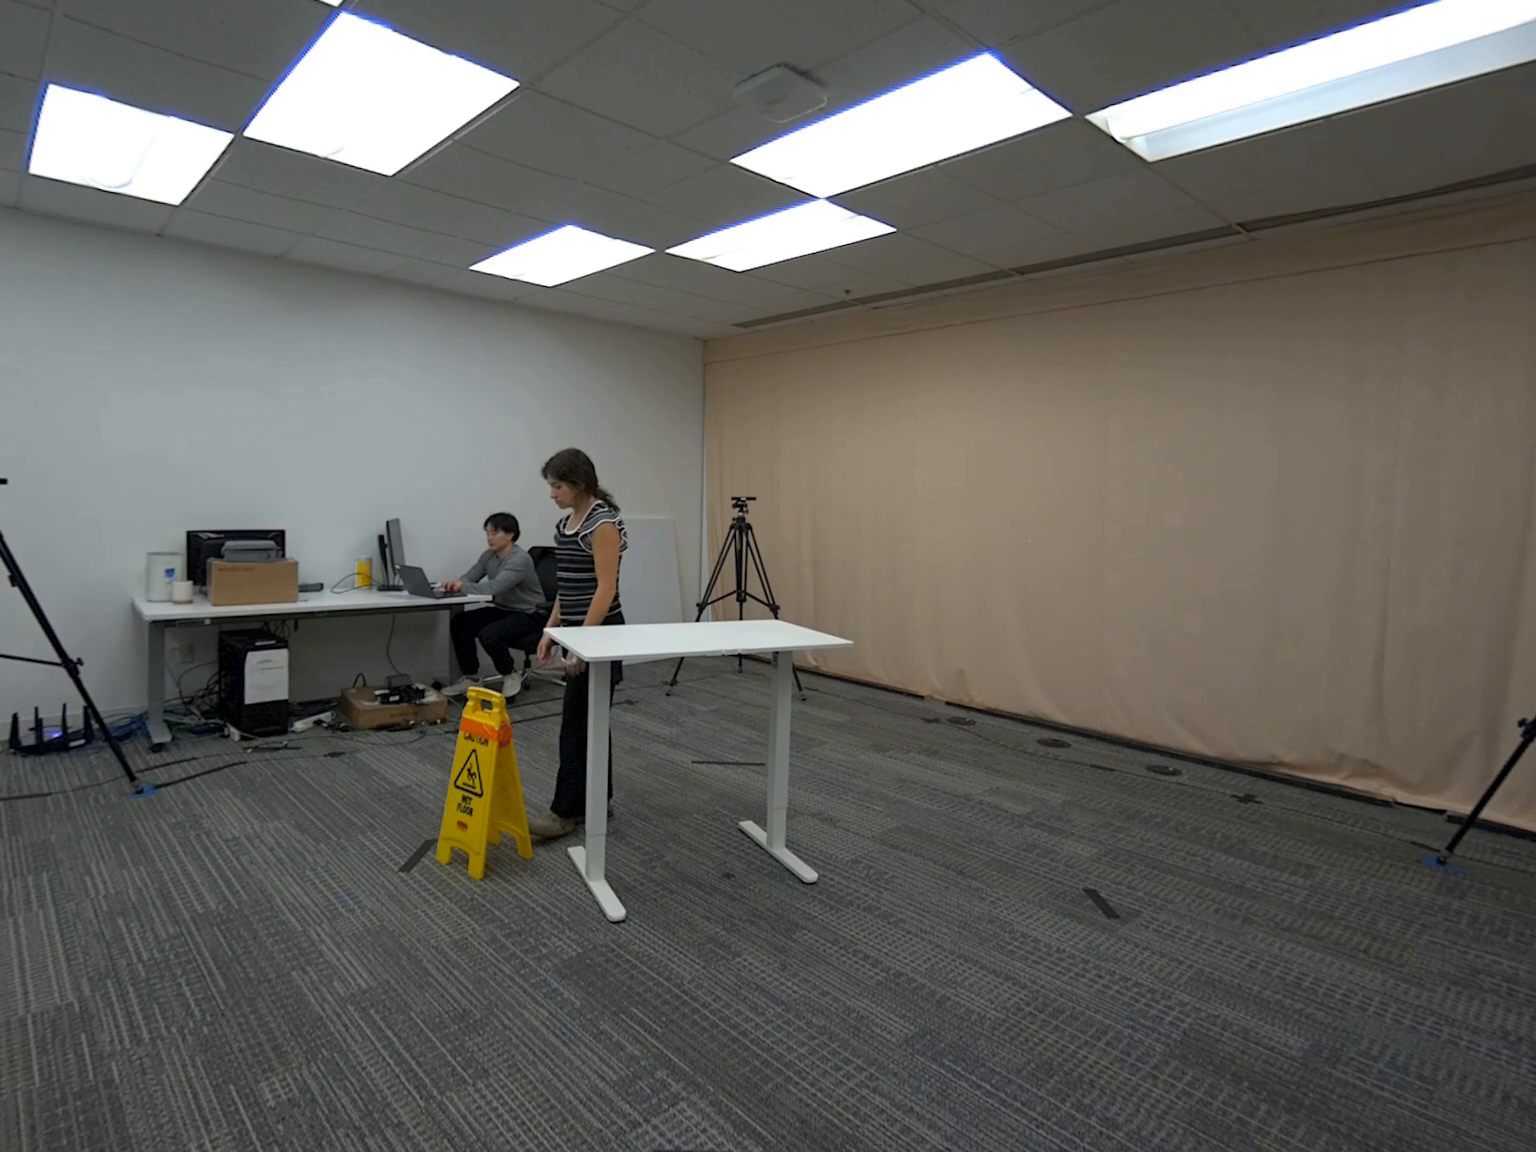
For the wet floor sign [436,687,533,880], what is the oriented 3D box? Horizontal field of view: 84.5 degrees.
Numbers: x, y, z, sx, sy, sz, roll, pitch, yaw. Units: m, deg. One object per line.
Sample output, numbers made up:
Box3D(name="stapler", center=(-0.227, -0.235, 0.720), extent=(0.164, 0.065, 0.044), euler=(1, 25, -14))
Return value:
Box3D(name="wet floor sign", center=(-1.081, 0.758, 3.182), extent=(0.289, 0.644, 0.283), euler=(4, 4, 36))
